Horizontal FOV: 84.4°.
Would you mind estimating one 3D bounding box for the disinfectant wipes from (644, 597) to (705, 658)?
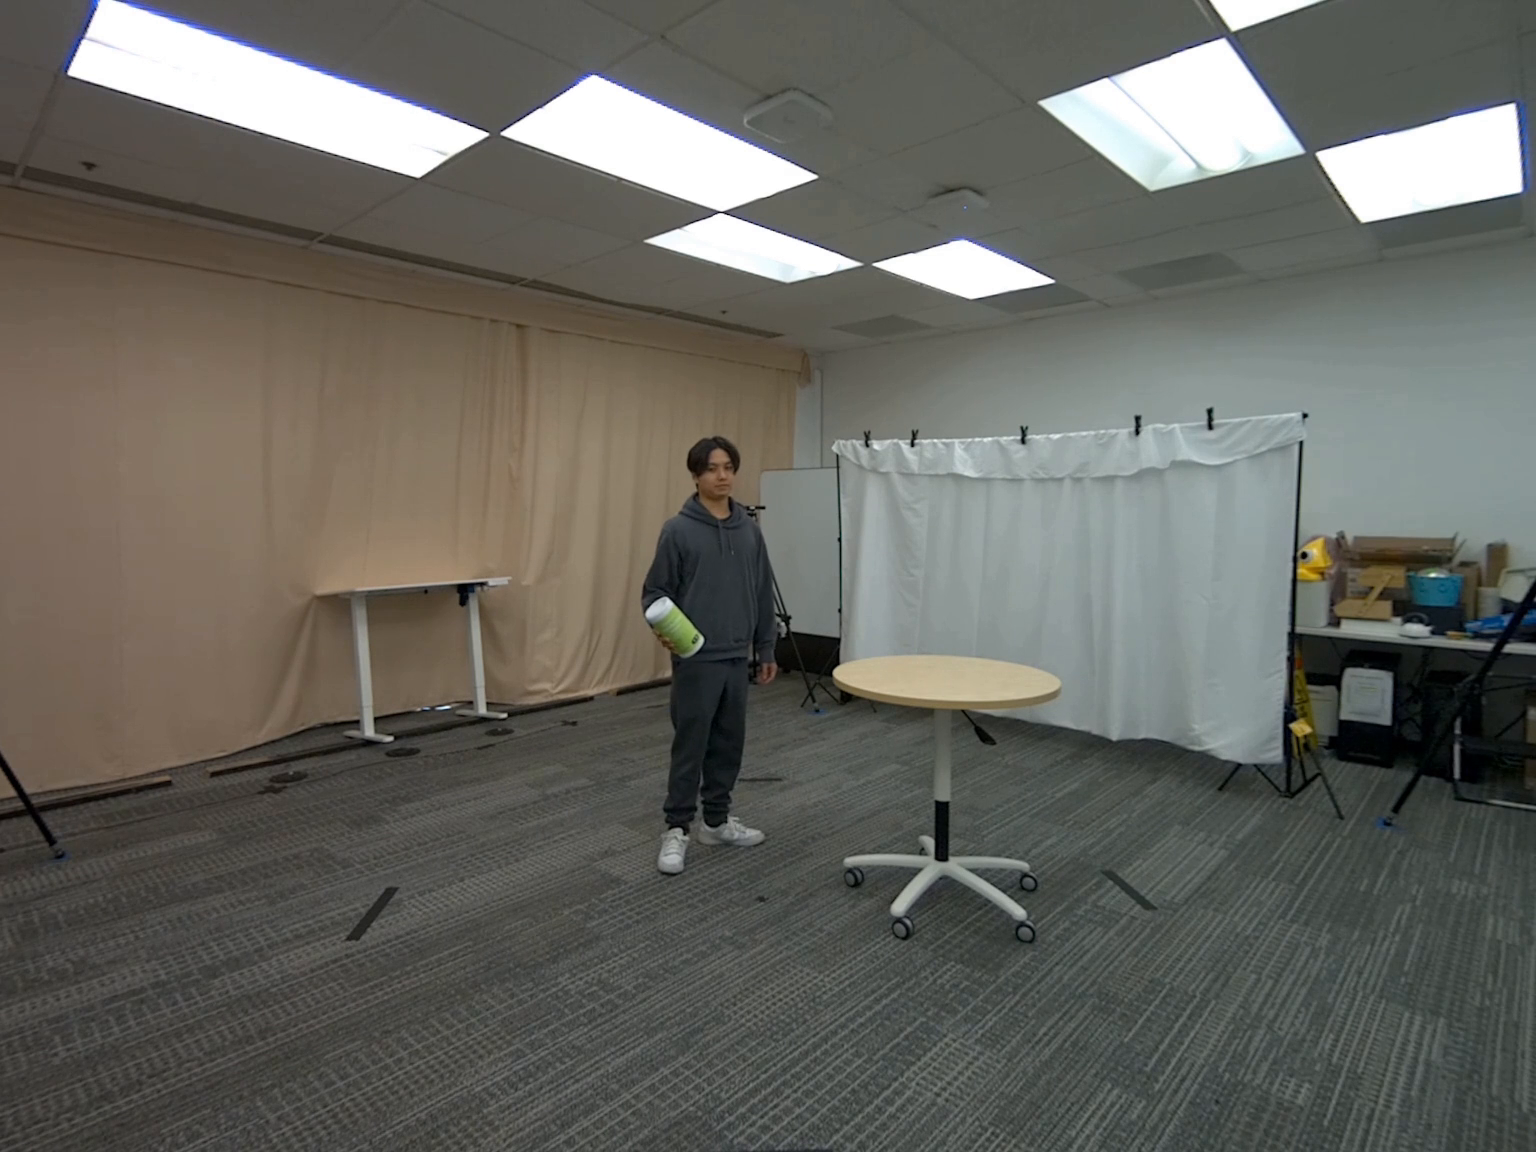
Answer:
[{"bbox_3d":[-0.334,0.182,3.040,0.119,0.212,0.119,-34,22,14],"label":"disinfectant wipes"}]
